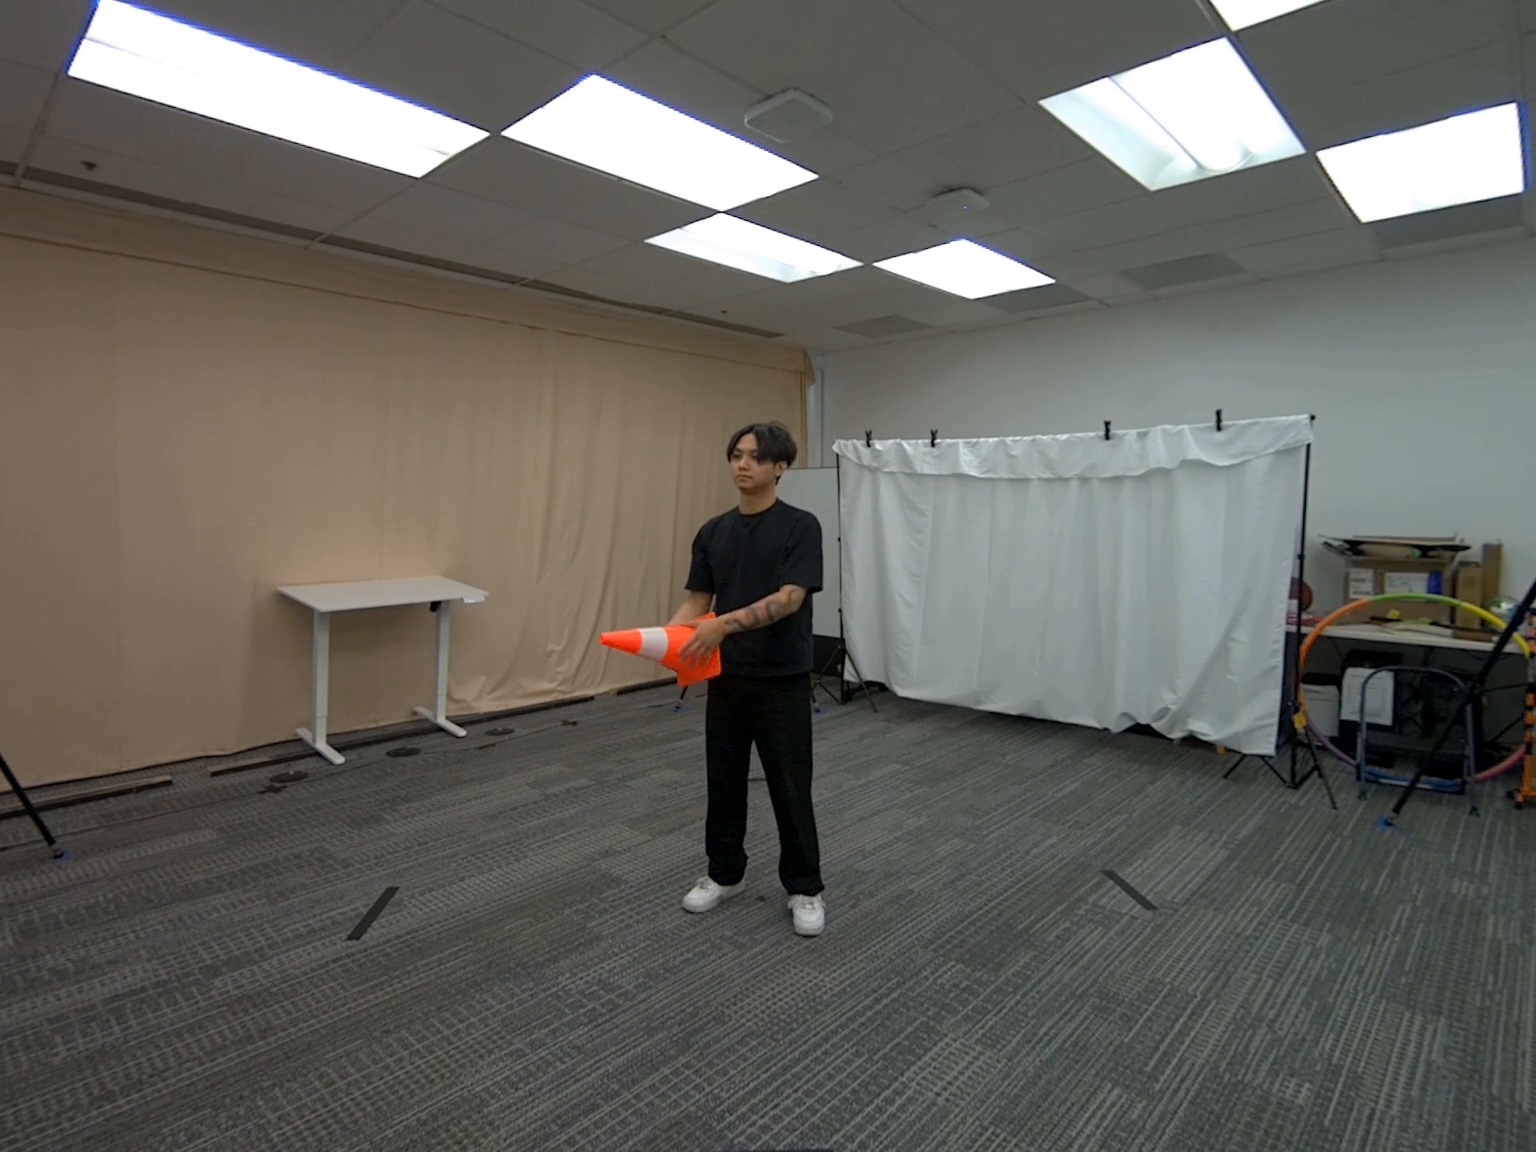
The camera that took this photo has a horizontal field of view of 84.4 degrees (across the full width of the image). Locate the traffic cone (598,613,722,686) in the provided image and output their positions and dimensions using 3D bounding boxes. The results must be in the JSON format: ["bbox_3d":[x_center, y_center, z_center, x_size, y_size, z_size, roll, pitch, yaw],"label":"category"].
[{"bbox_3d":[-0.354,0.199,2.524,0.208,0.208,0.370,-22,-23,40],"label":"traffic cone"}]
